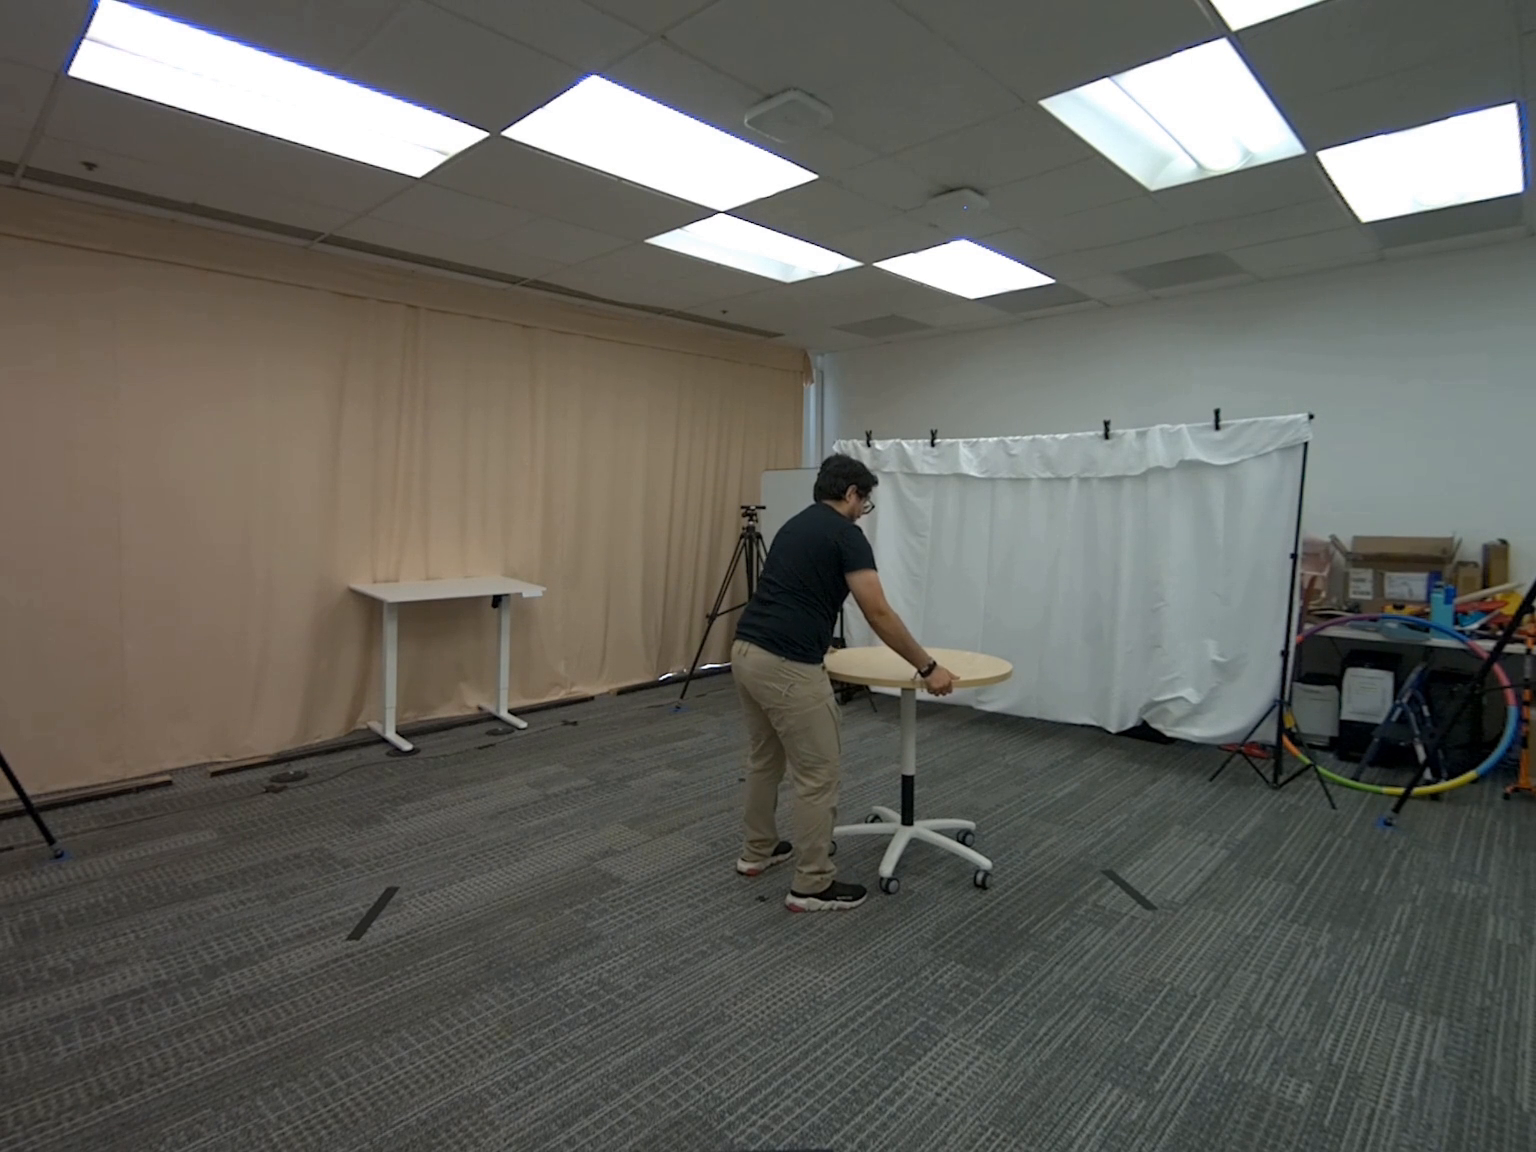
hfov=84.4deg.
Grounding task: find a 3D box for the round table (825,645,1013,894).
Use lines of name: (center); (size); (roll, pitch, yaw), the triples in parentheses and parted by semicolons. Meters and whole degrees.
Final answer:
round table: (0.561, 0.724, 3.277); (0.784, 0.785, 0.787); (0, 3, -2)
